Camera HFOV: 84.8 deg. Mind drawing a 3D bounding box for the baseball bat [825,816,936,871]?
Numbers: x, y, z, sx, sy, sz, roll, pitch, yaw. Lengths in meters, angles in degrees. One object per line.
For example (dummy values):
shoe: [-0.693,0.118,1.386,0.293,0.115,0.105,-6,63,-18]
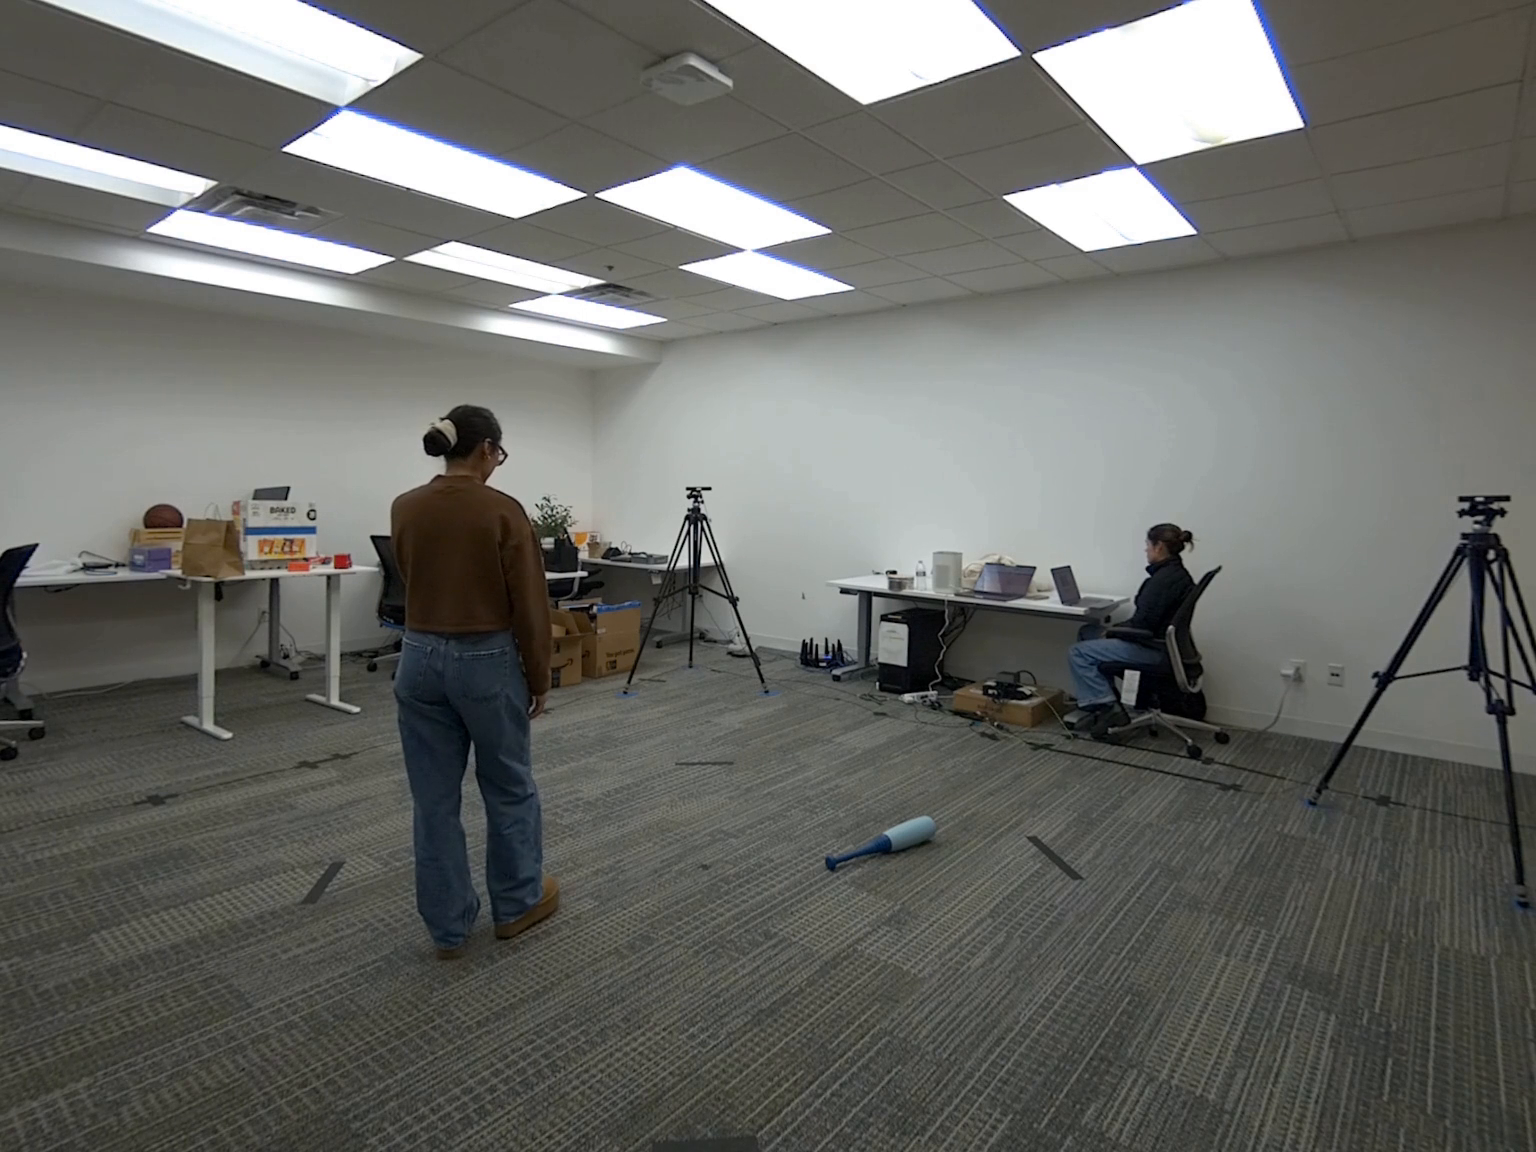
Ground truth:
baseball bat: [0.431,1.030,3.265,0.529,0.088,0.092,-8,8,-34]
